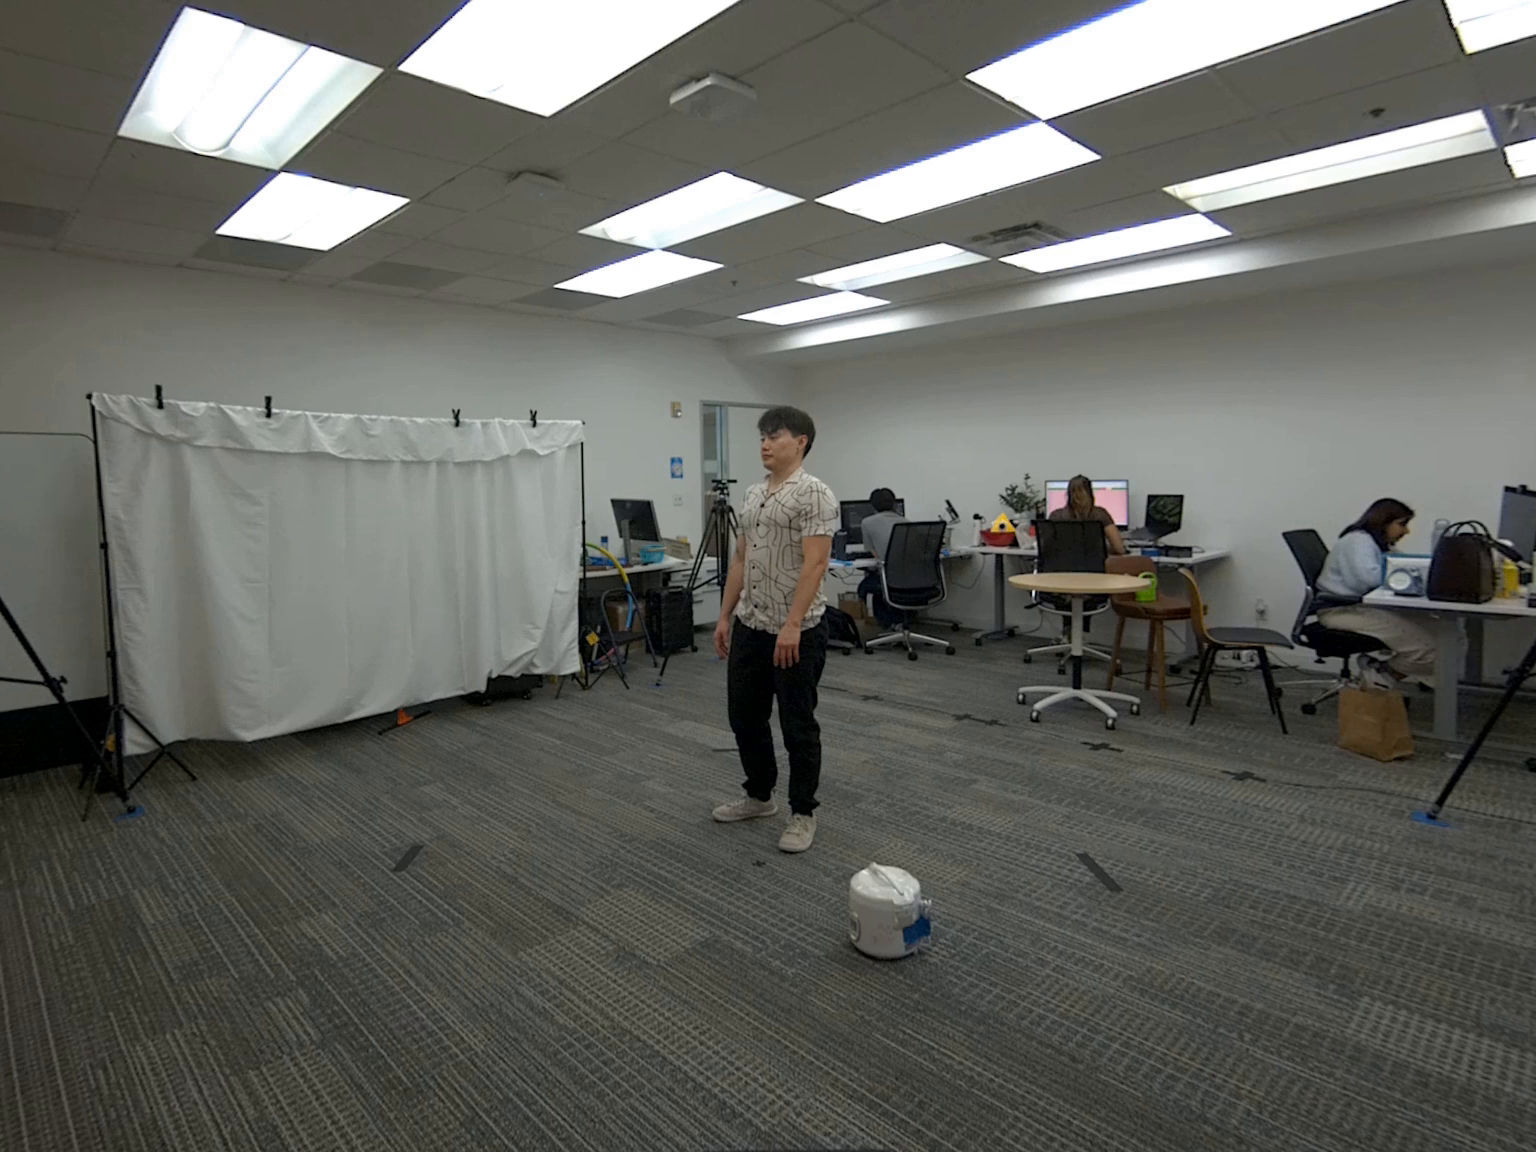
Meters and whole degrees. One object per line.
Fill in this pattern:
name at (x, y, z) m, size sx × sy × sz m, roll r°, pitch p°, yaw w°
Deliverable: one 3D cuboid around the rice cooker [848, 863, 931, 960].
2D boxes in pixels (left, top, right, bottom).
rice cooker at (0.342, 0.986, 2.548) m, size 0.213 × 0.232 × 0.226 m, roll -2°, pitch 5°, yaw -23°
